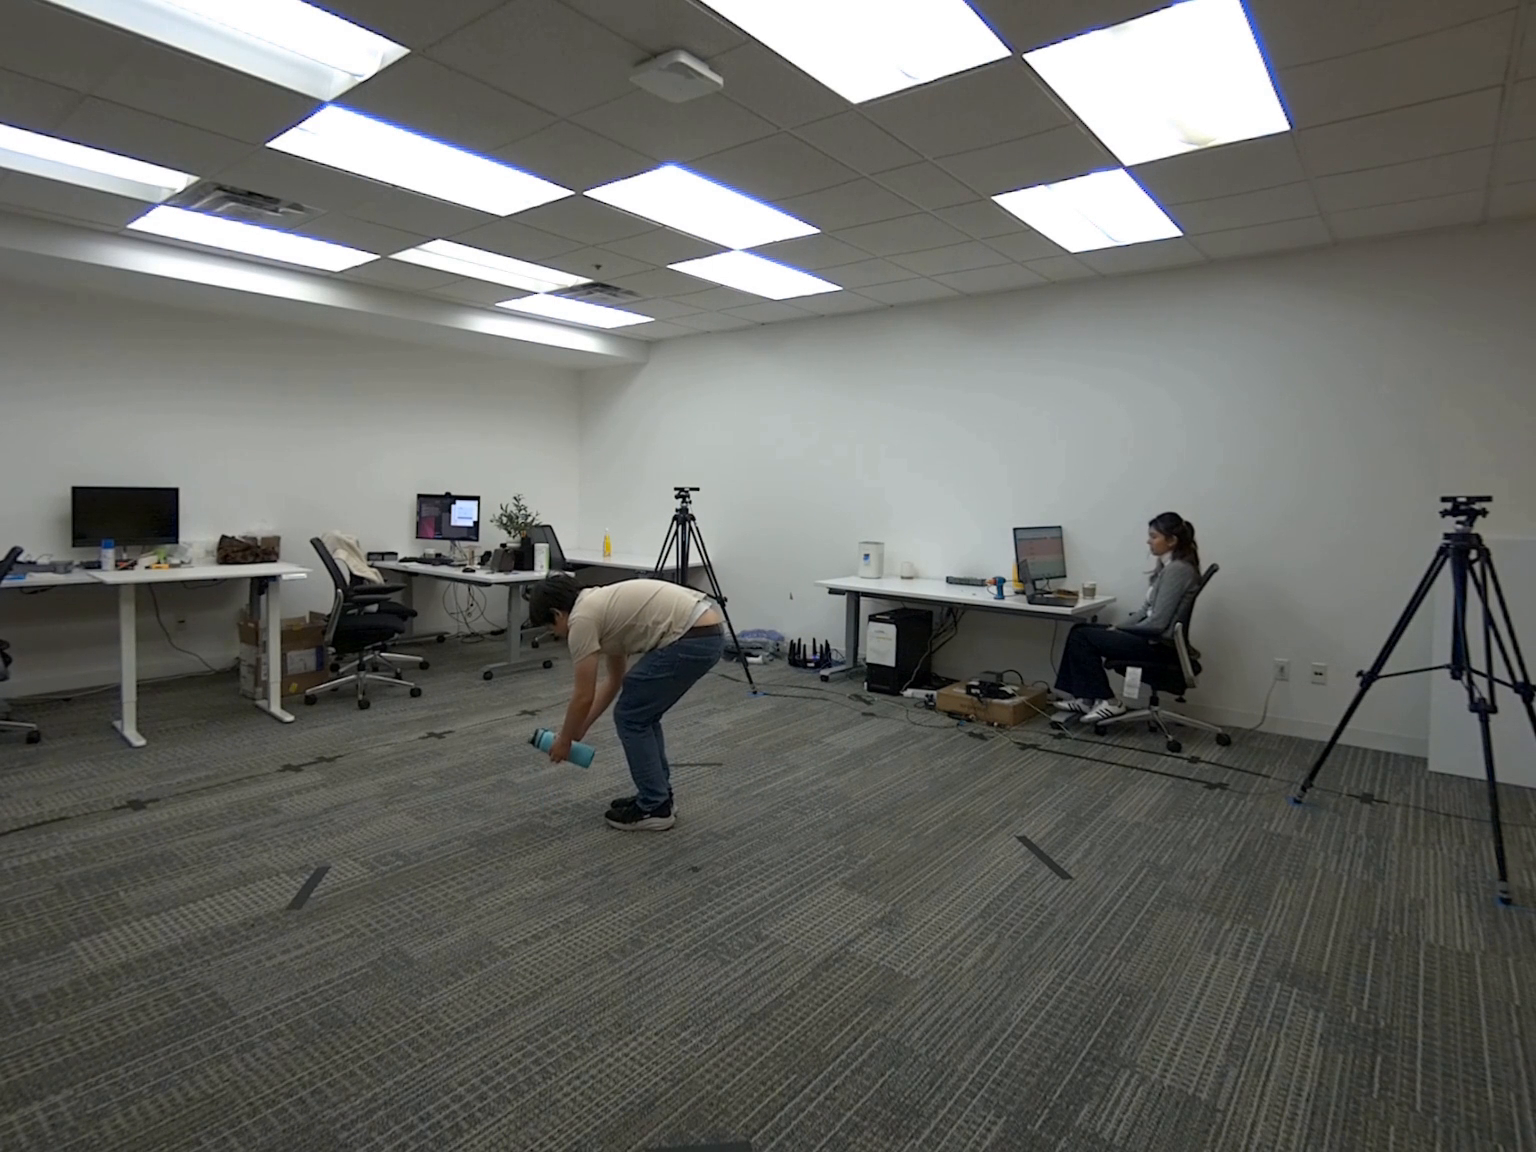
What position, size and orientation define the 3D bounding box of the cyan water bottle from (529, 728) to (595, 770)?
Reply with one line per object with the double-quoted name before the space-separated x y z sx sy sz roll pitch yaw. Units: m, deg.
"cyan water bottle" -0.901 0.733 3.650 0.286 0.092 0.092 19 6 6
